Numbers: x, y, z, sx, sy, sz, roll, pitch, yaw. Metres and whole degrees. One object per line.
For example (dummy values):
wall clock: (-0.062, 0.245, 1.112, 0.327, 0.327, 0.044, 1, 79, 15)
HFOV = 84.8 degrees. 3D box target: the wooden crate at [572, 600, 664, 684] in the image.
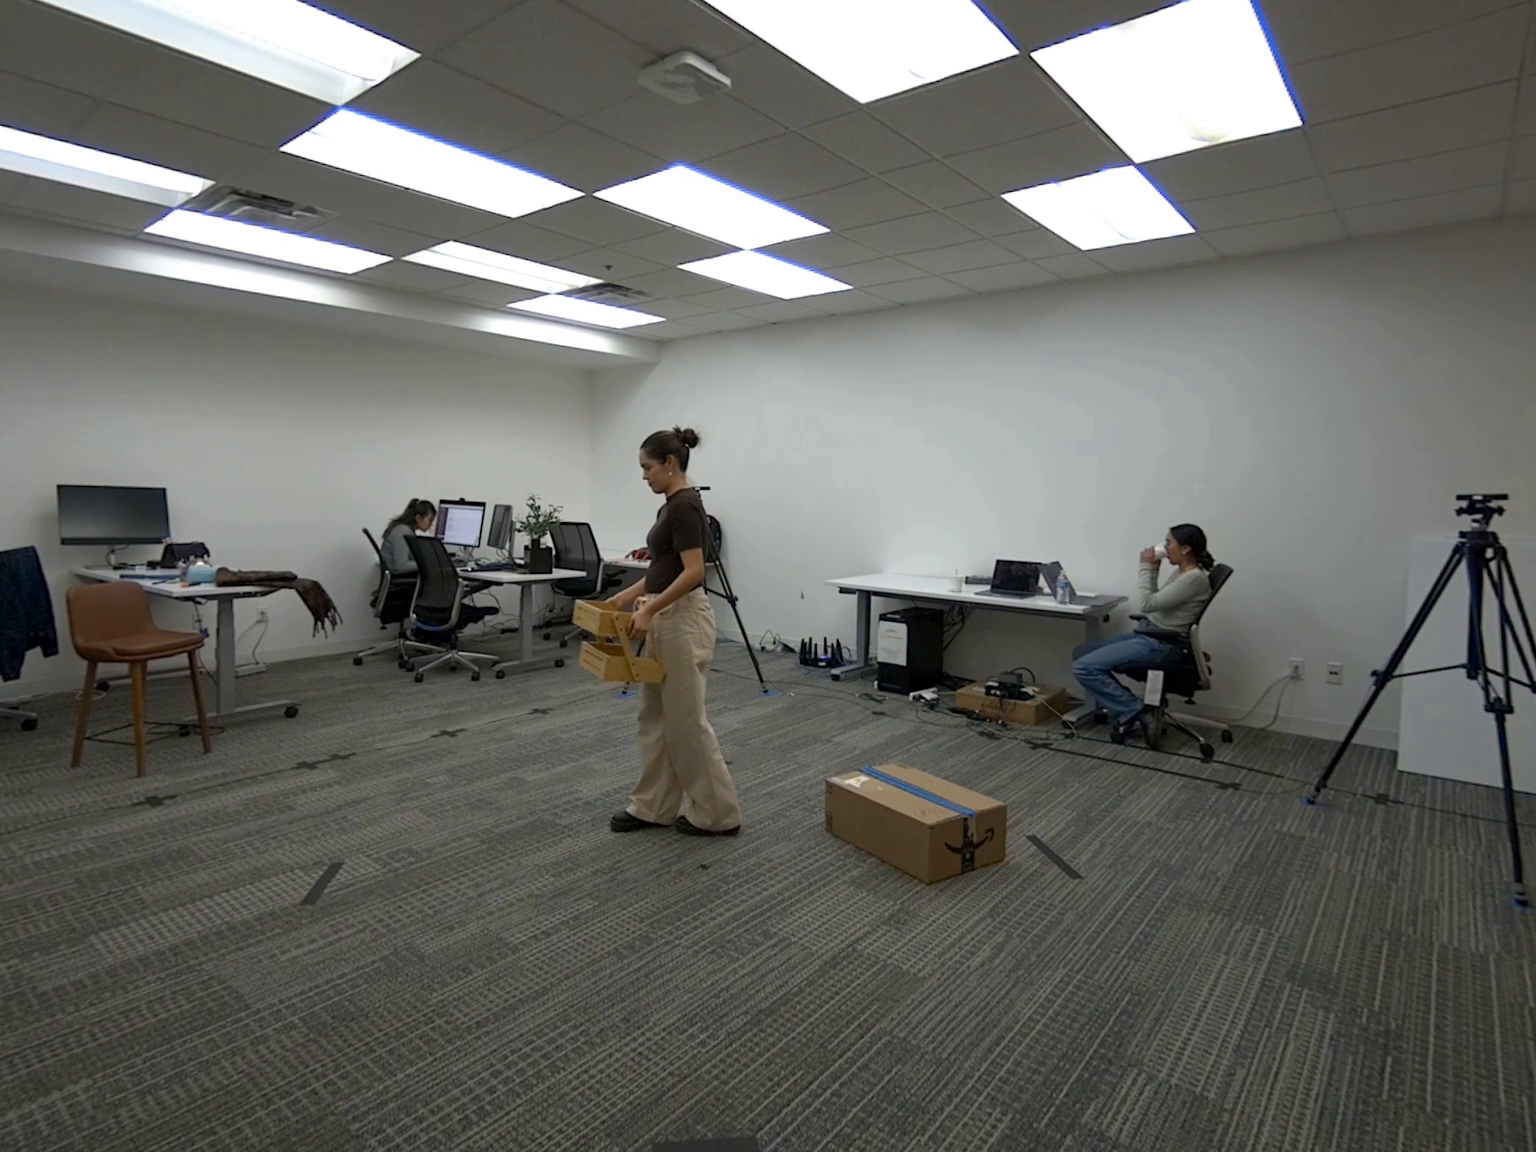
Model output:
wooden crate: (-0.595, 0.249, 3.350, 0.293, 0.273, 0.334, 8, 1, -29)
